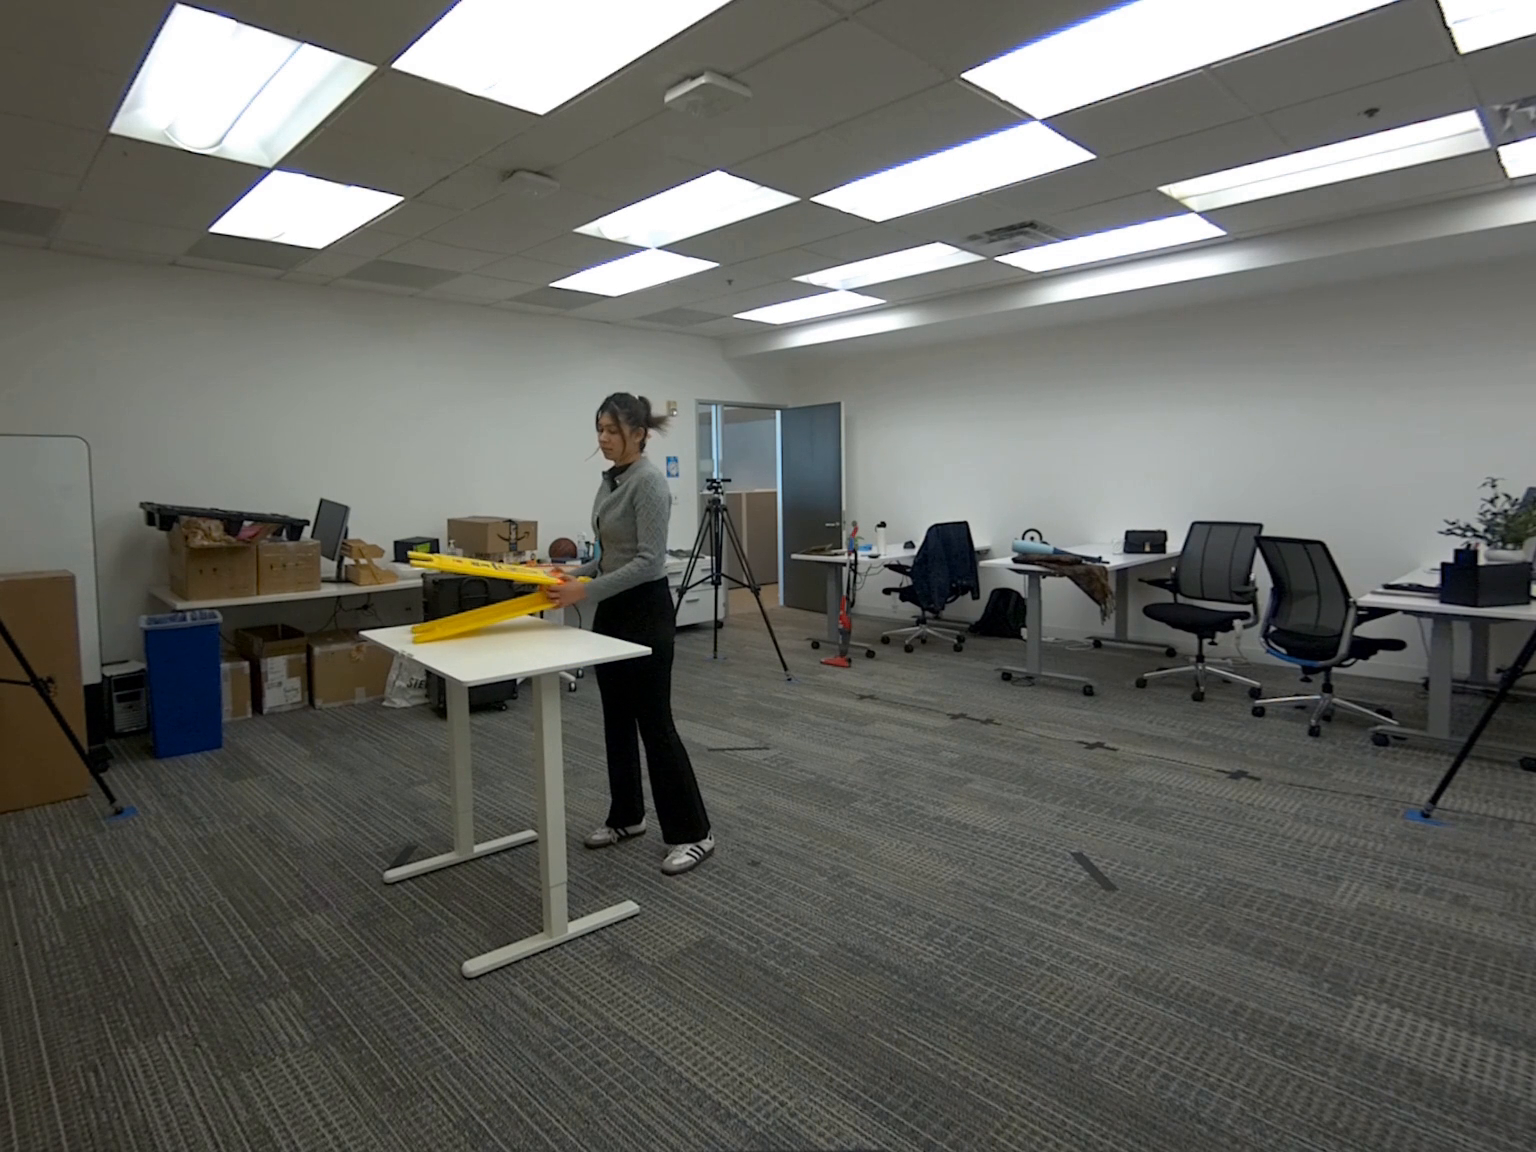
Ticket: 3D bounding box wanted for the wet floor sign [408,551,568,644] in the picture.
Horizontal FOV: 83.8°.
[{"bbox_3d":[-0.926,0.049,3.040,0.633,0.287,0.290,-5,10,-24],"label":"wet floor sign"}]
